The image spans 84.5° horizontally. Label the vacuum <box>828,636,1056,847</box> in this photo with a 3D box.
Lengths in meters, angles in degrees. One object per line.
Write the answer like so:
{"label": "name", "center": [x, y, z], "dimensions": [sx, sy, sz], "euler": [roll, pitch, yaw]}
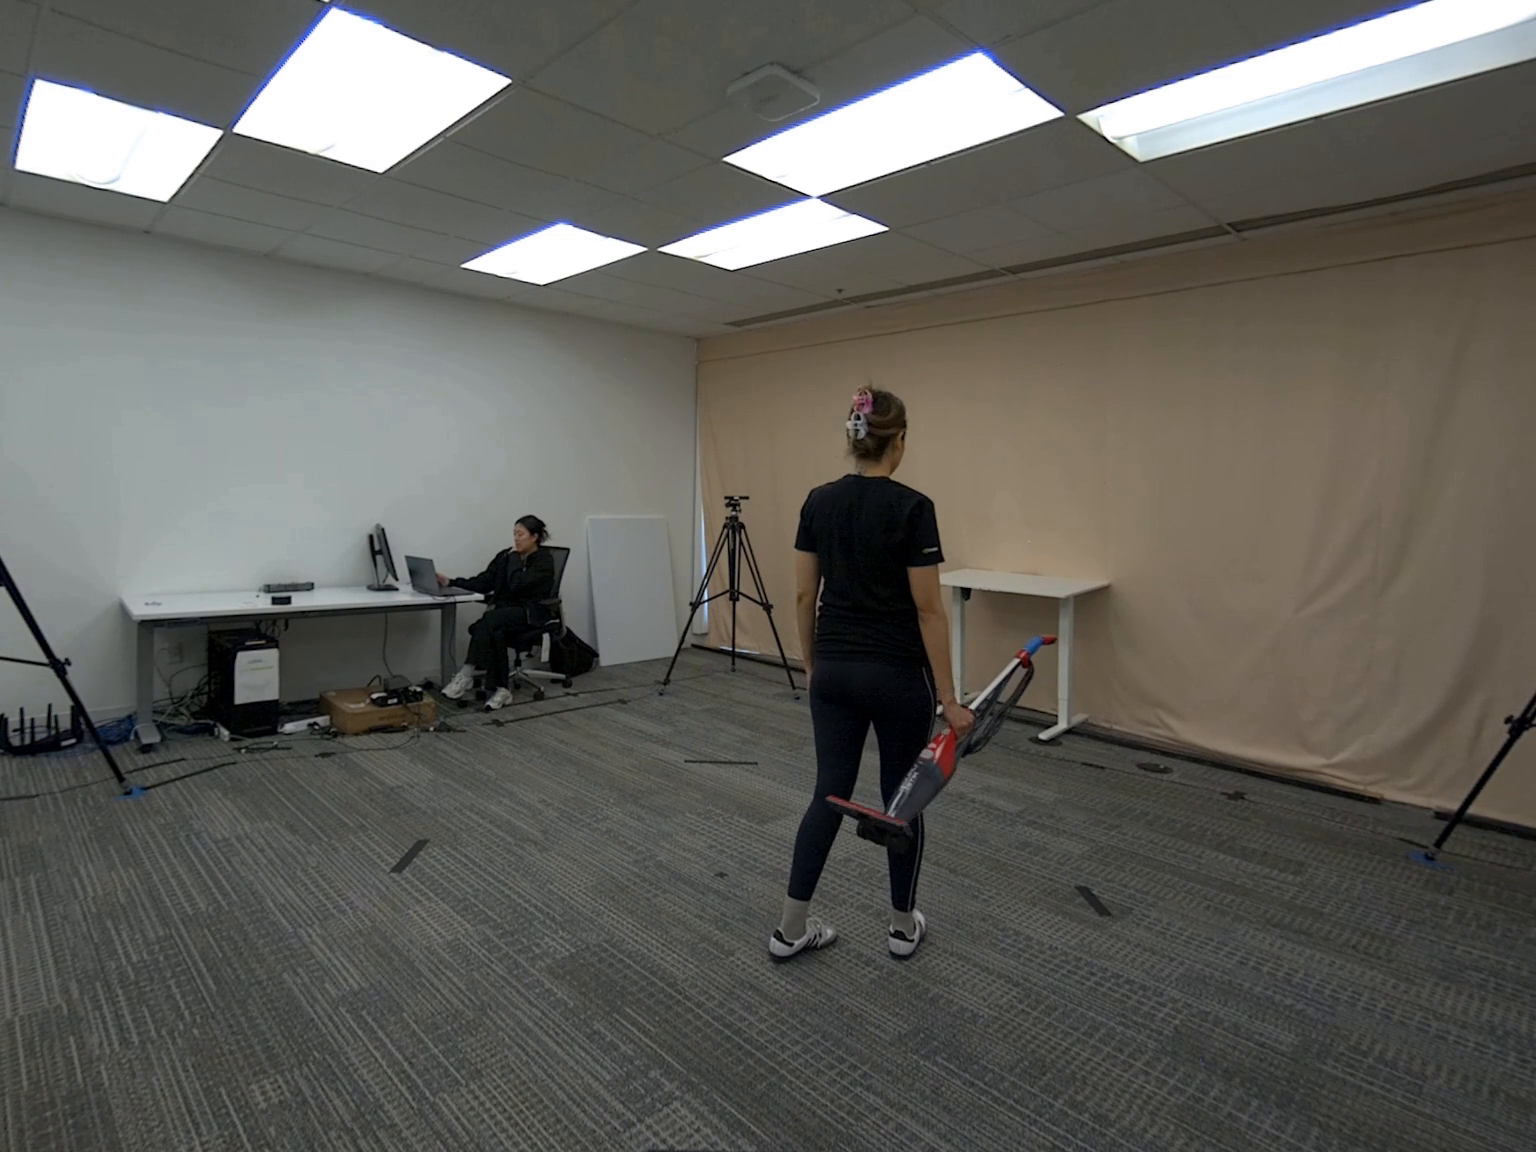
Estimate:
{"label": "vacuum", "center": [0.621, 0.438, 2.468], "dimensions": [0.259, 0.142, 1.040], "euler": [2, 27, 45]}
